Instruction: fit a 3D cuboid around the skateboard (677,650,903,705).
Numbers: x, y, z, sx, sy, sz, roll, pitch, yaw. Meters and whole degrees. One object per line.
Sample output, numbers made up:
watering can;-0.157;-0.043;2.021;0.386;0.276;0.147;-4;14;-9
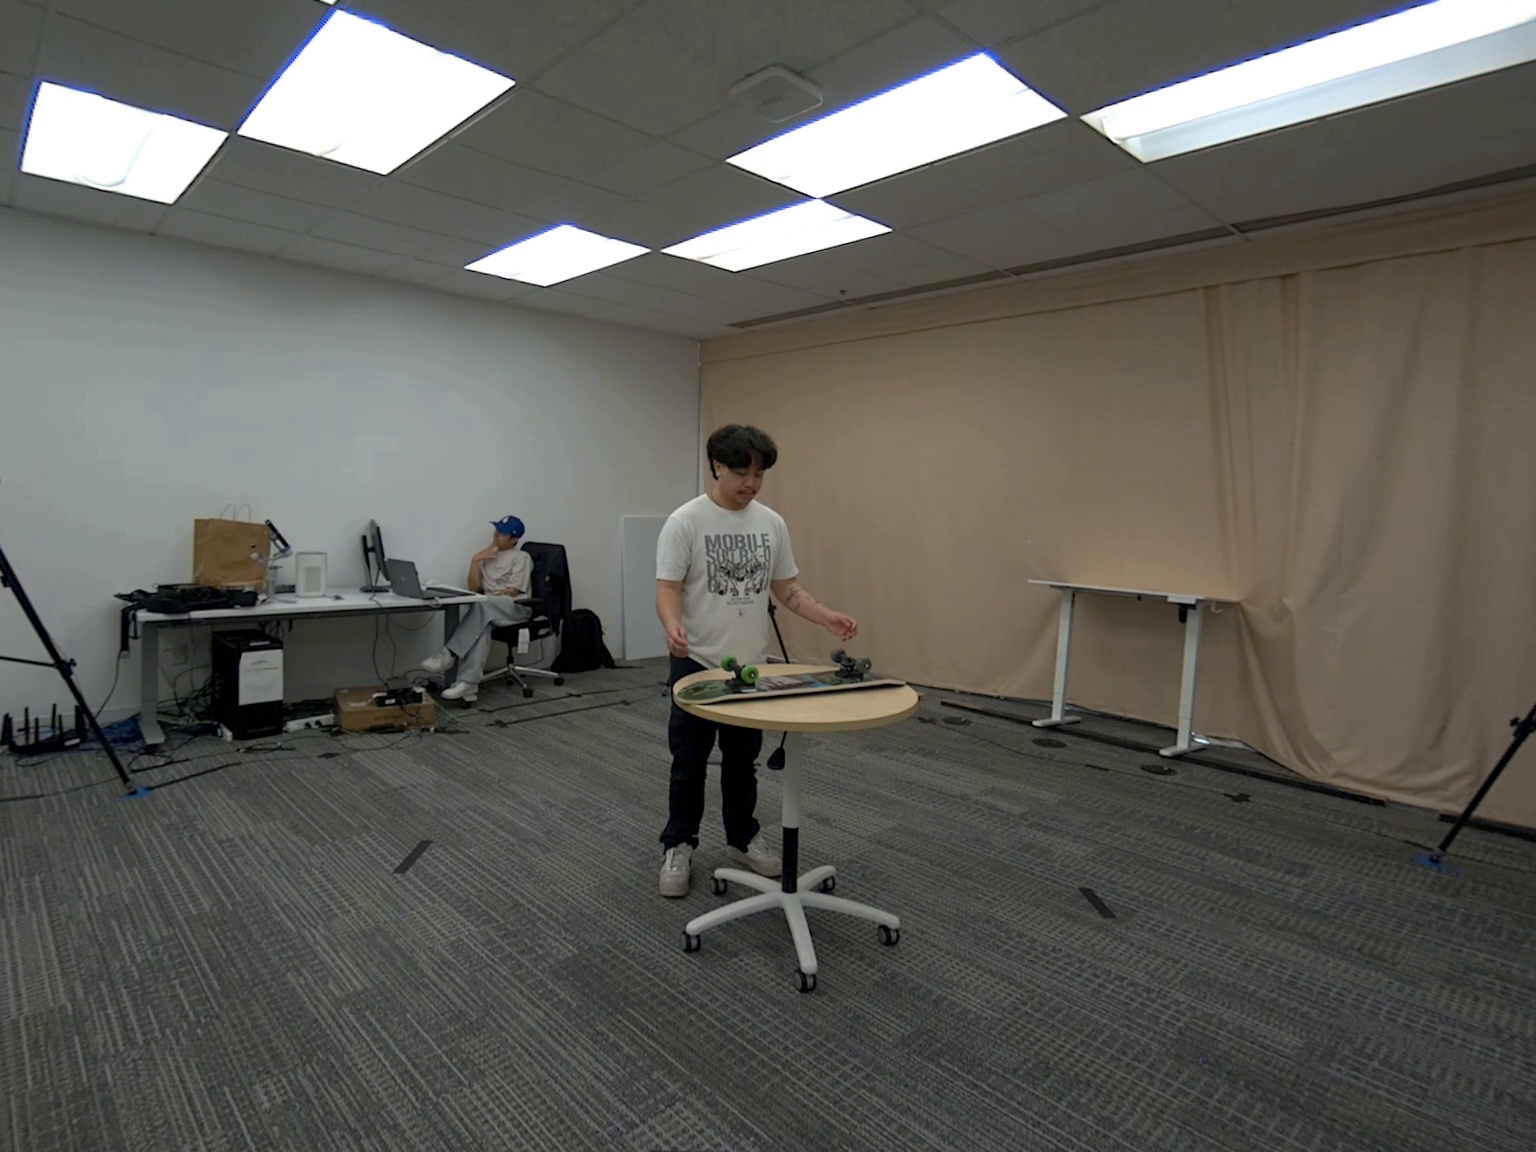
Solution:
skateboard;0.081;0.313;2.642;0.772;0.110;0.197;-2;6;-25
